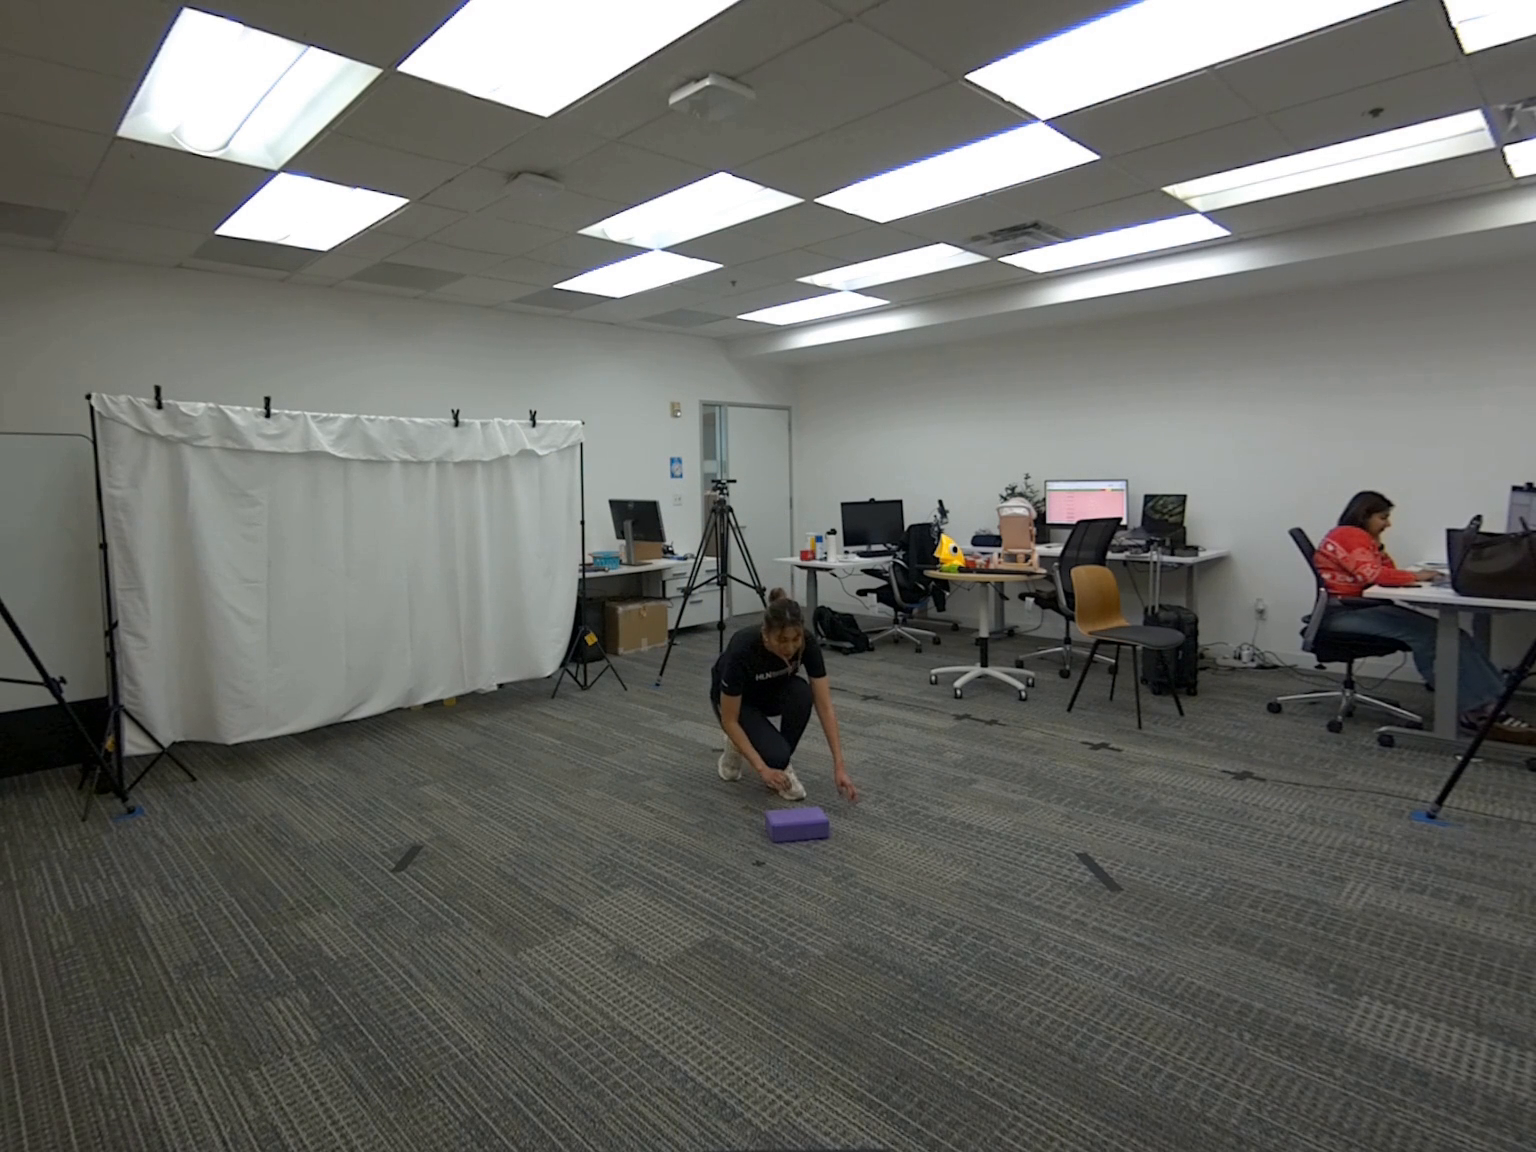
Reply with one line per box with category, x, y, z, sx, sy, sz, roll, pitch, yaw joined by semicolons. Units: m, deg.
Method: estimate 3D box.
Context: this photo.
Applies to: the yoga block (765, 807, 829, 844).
yoga block;0.109;0.979;3.365;0.227;0.076;0.151;-2;7;-10
